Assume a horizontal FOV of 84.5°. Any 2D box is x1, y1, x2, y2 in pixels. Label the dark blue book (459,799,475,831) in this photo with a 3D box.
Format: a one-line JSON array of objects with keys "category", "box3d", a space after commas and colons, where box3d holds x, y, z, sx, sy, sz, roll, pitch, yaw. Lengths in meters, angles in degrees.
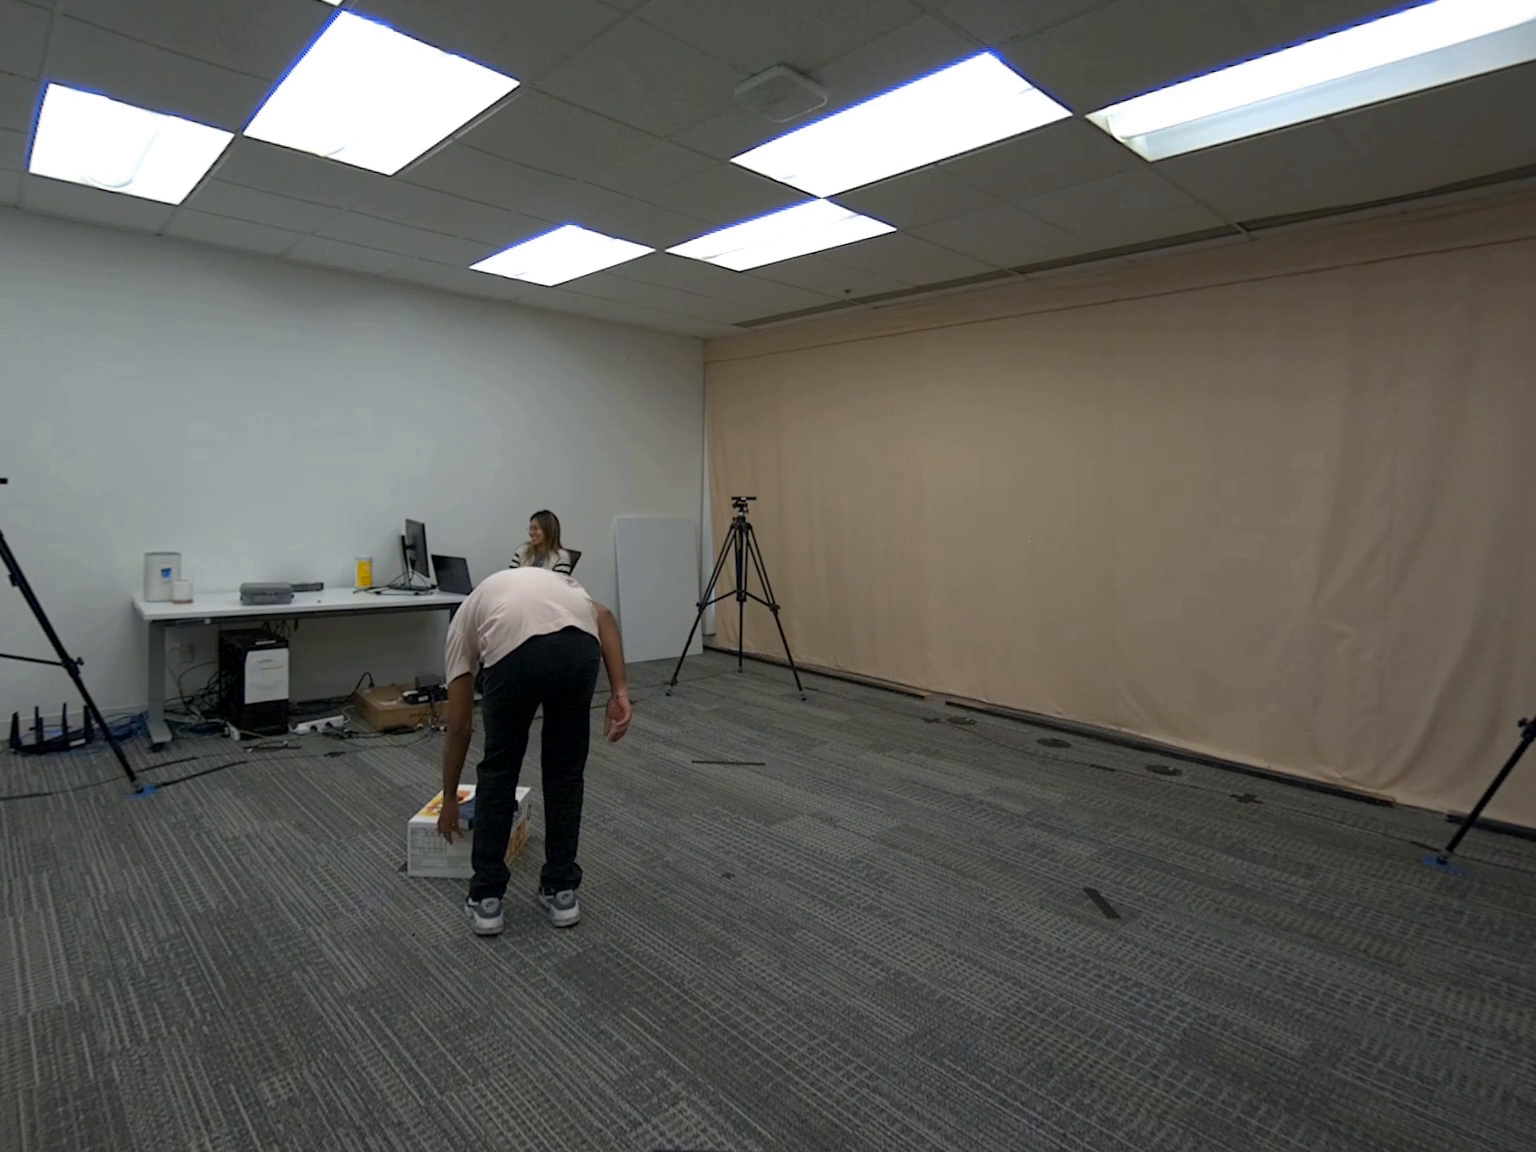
[{"category": "dark blue book", "box3d": [-1.074, 0.870, 3.084, 0.167, 0.045, 0.240, 1, 3, 29]}]
